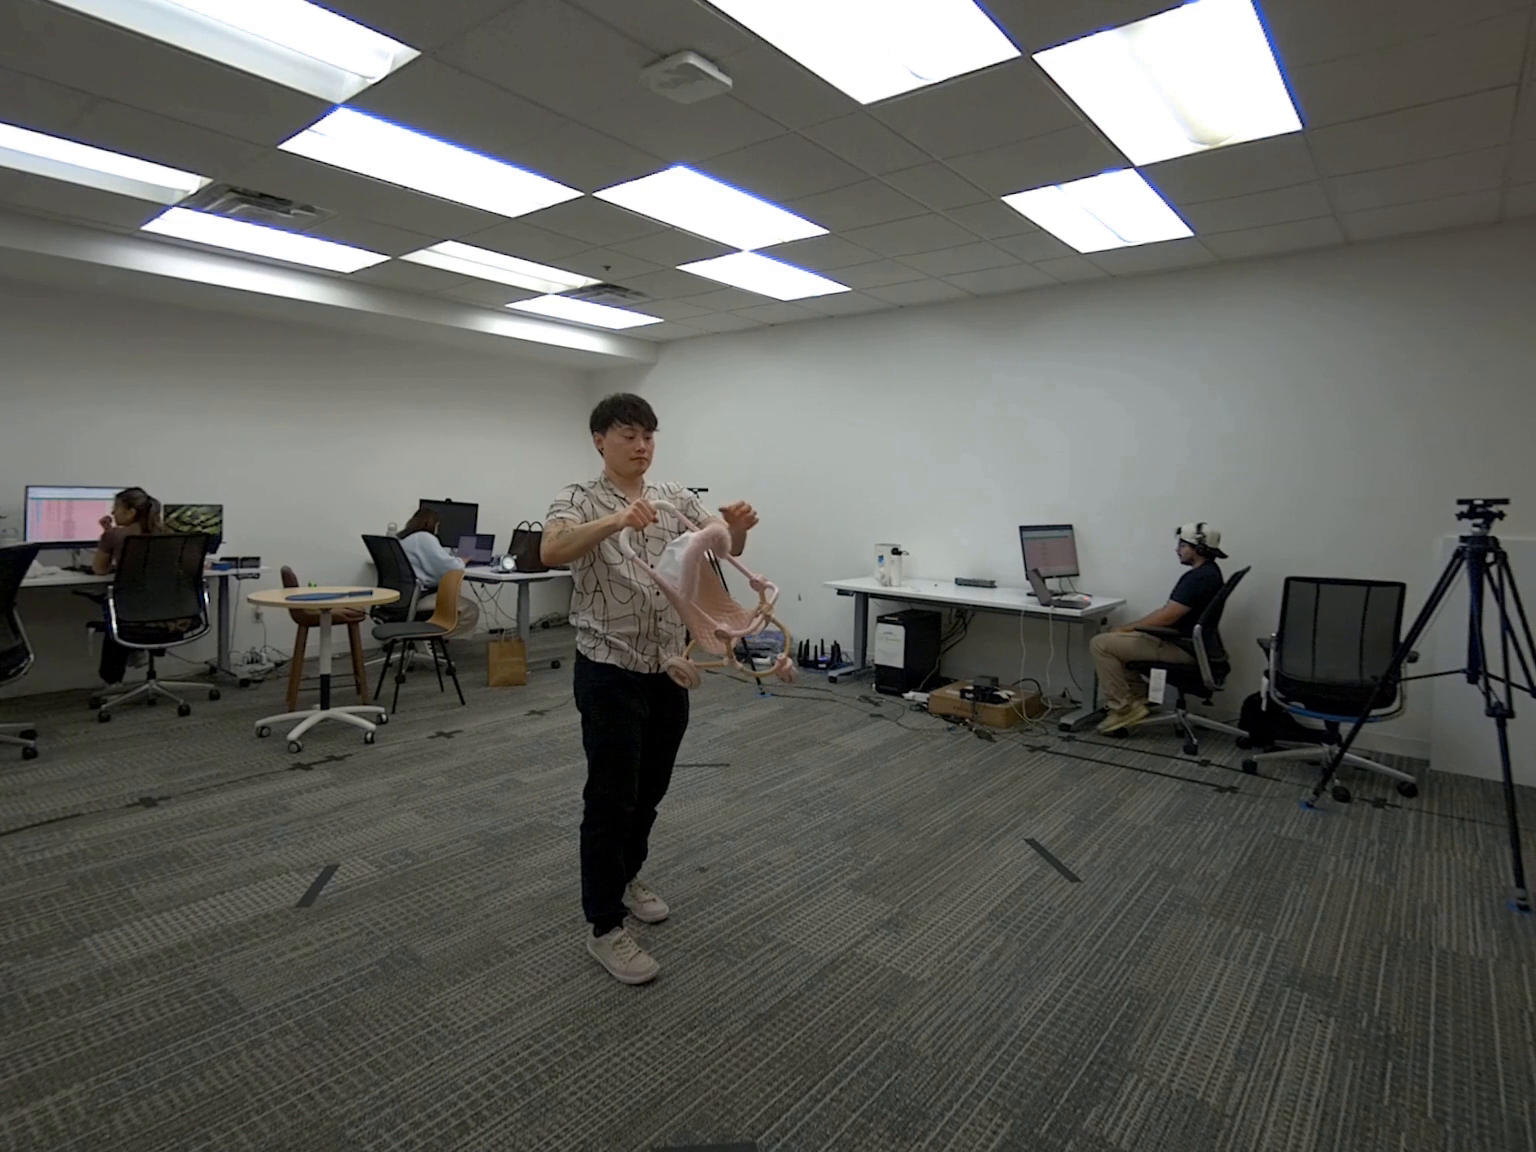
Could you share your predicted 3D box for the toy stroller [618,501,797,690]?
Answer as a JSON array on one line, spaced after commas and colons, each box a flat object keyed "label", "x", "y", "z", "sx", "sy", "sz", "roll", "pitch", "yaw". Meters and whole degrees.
[{"label": "toy stroller", "x": -0.144, "y": 0.069, "z": 2.232, "sx": 0.353, "sy": 0.517, "sz": 0.281, "roll": 8, "pitch": 41, "yaw": 38}]
